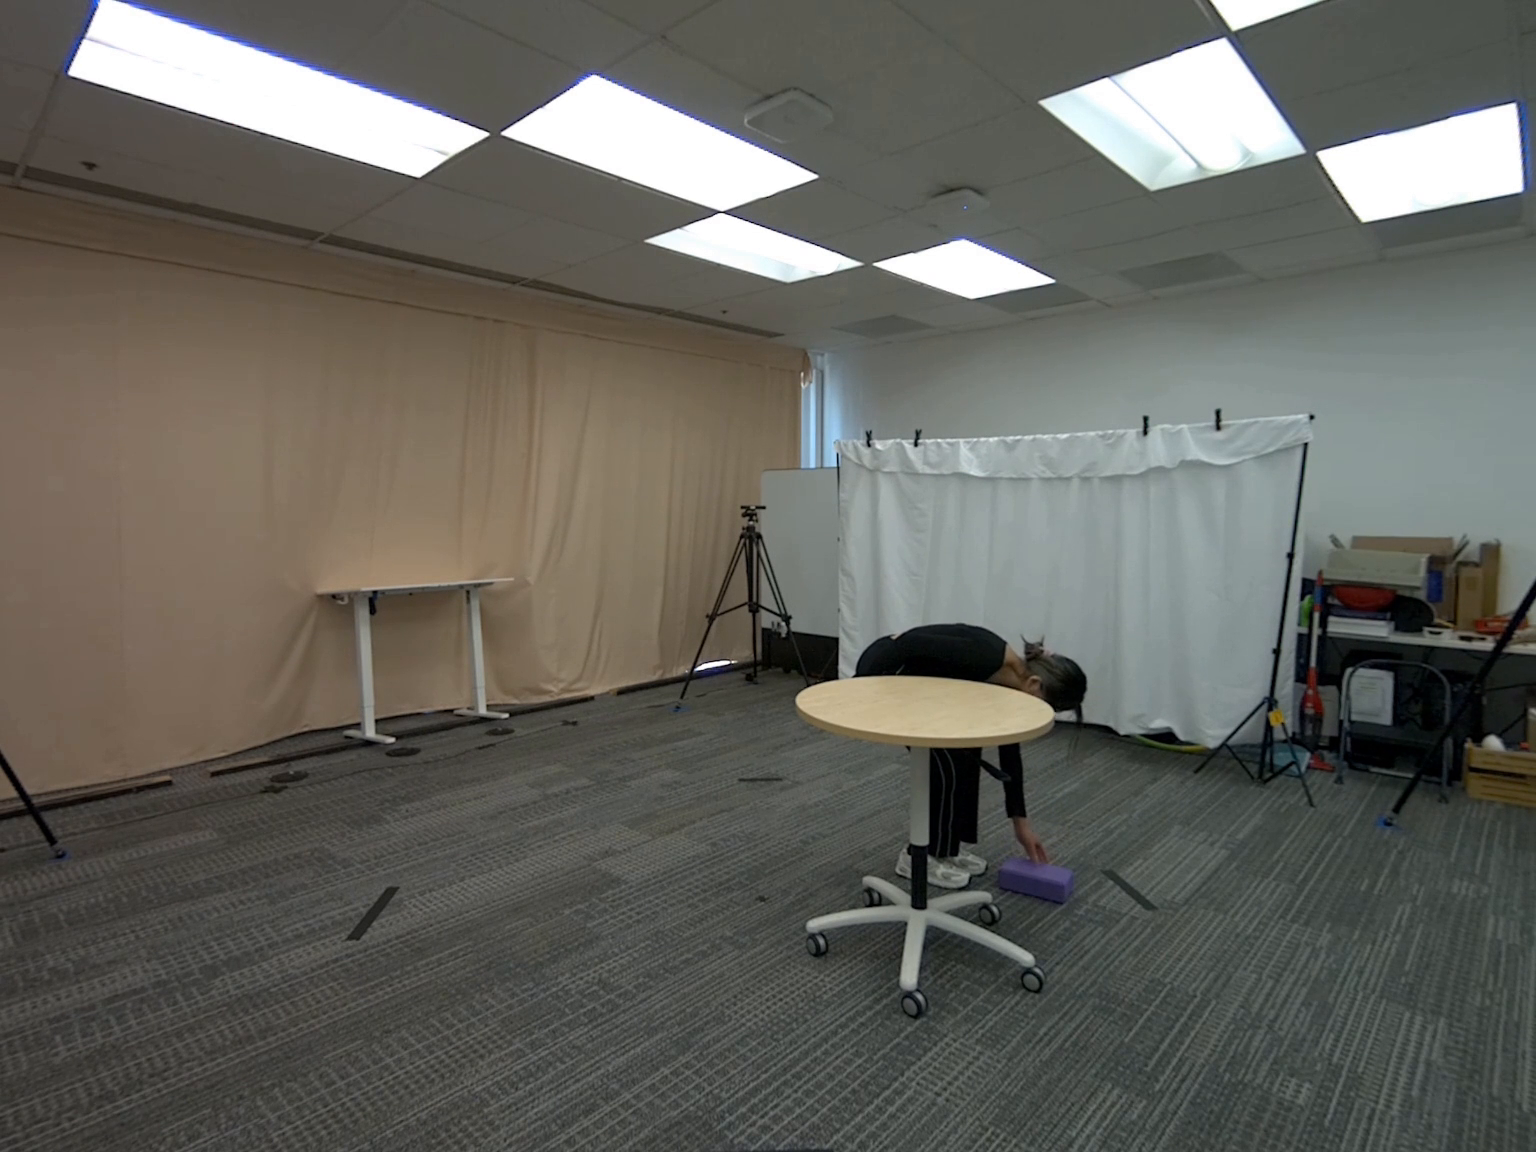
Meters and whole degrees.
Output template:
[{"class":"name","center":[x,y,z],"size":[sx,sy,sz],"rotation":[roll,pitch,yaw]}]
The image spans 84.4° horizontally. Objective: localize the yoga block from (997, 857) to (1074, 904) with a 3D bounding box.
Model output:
[{"class":"yoga block","center":[0.979,1.099,3.042],"size":[0.236,0.076,0.145],"rotation":[3,4,33]}]
